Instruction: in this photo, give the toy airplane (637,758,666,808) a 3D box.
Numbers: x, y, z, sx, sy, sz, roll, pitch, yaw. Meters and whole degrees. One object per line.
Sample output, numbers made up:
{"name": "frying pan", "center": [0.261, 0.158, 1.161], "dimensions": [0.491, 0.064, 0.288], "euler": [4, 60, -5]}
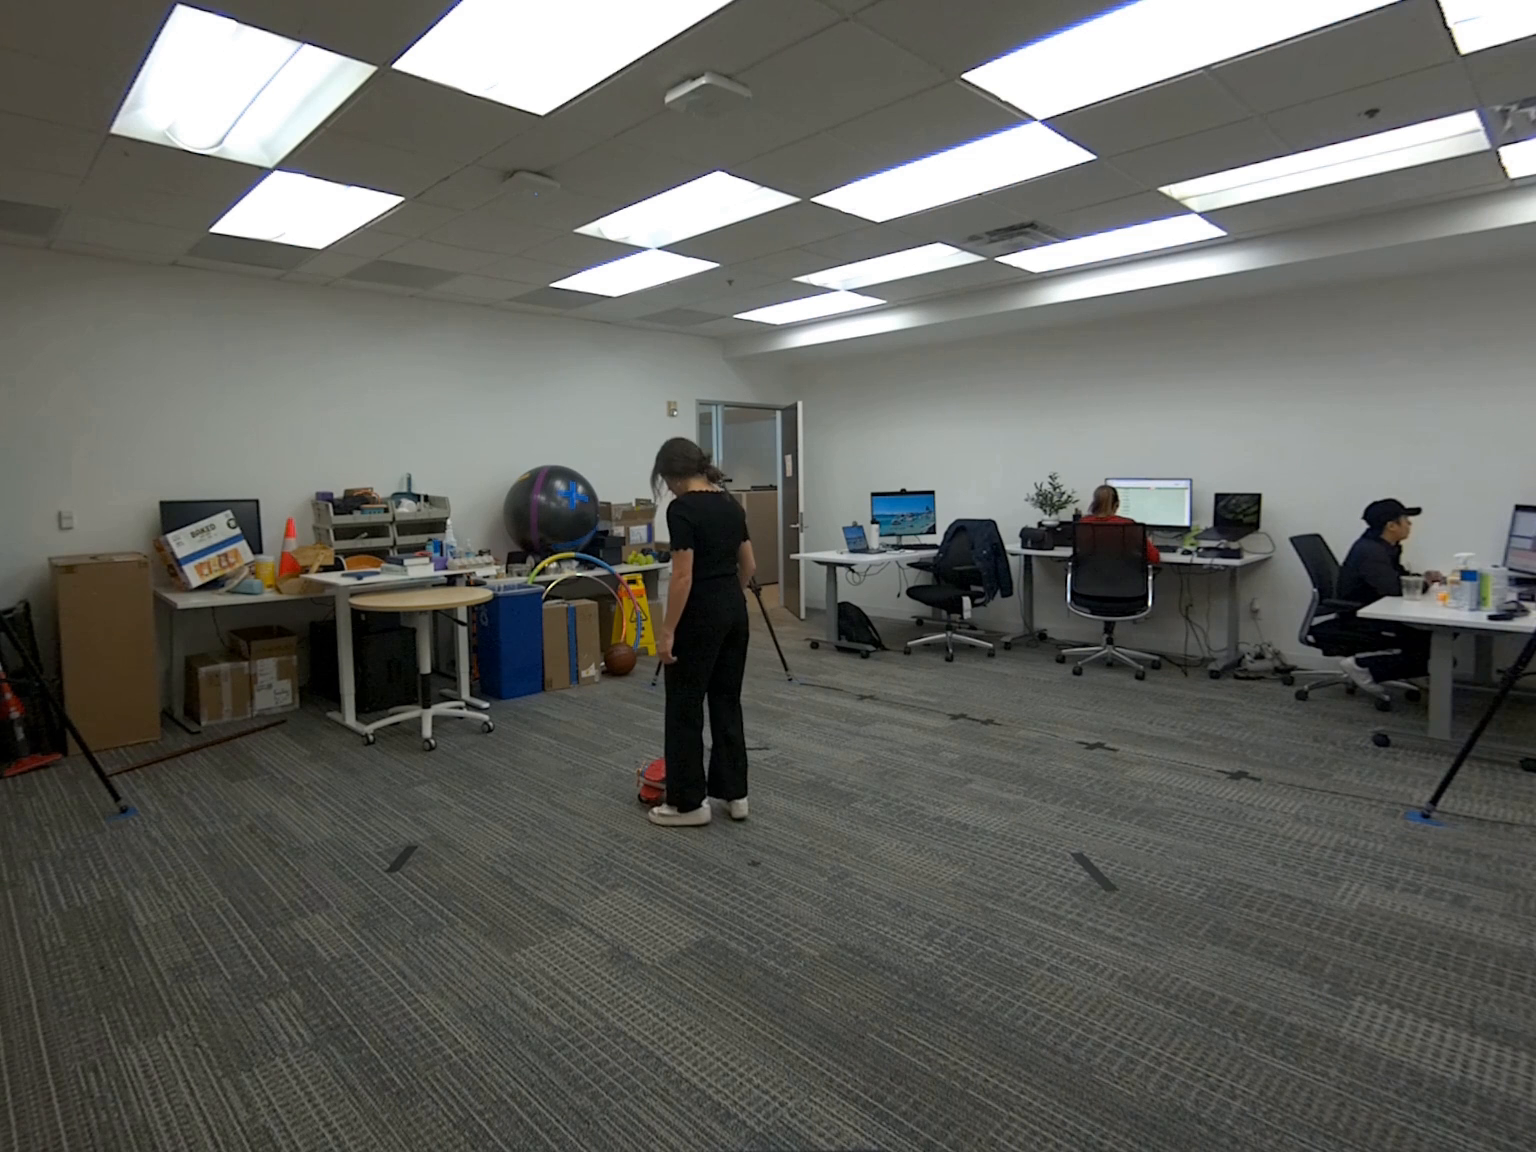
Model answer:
{"name": "toy airplane", "center": [-0.445, 0.904, 3.751], "dimensions": [0.255, 0.156, 0.256], "euler": [-3, 6, -16]}
